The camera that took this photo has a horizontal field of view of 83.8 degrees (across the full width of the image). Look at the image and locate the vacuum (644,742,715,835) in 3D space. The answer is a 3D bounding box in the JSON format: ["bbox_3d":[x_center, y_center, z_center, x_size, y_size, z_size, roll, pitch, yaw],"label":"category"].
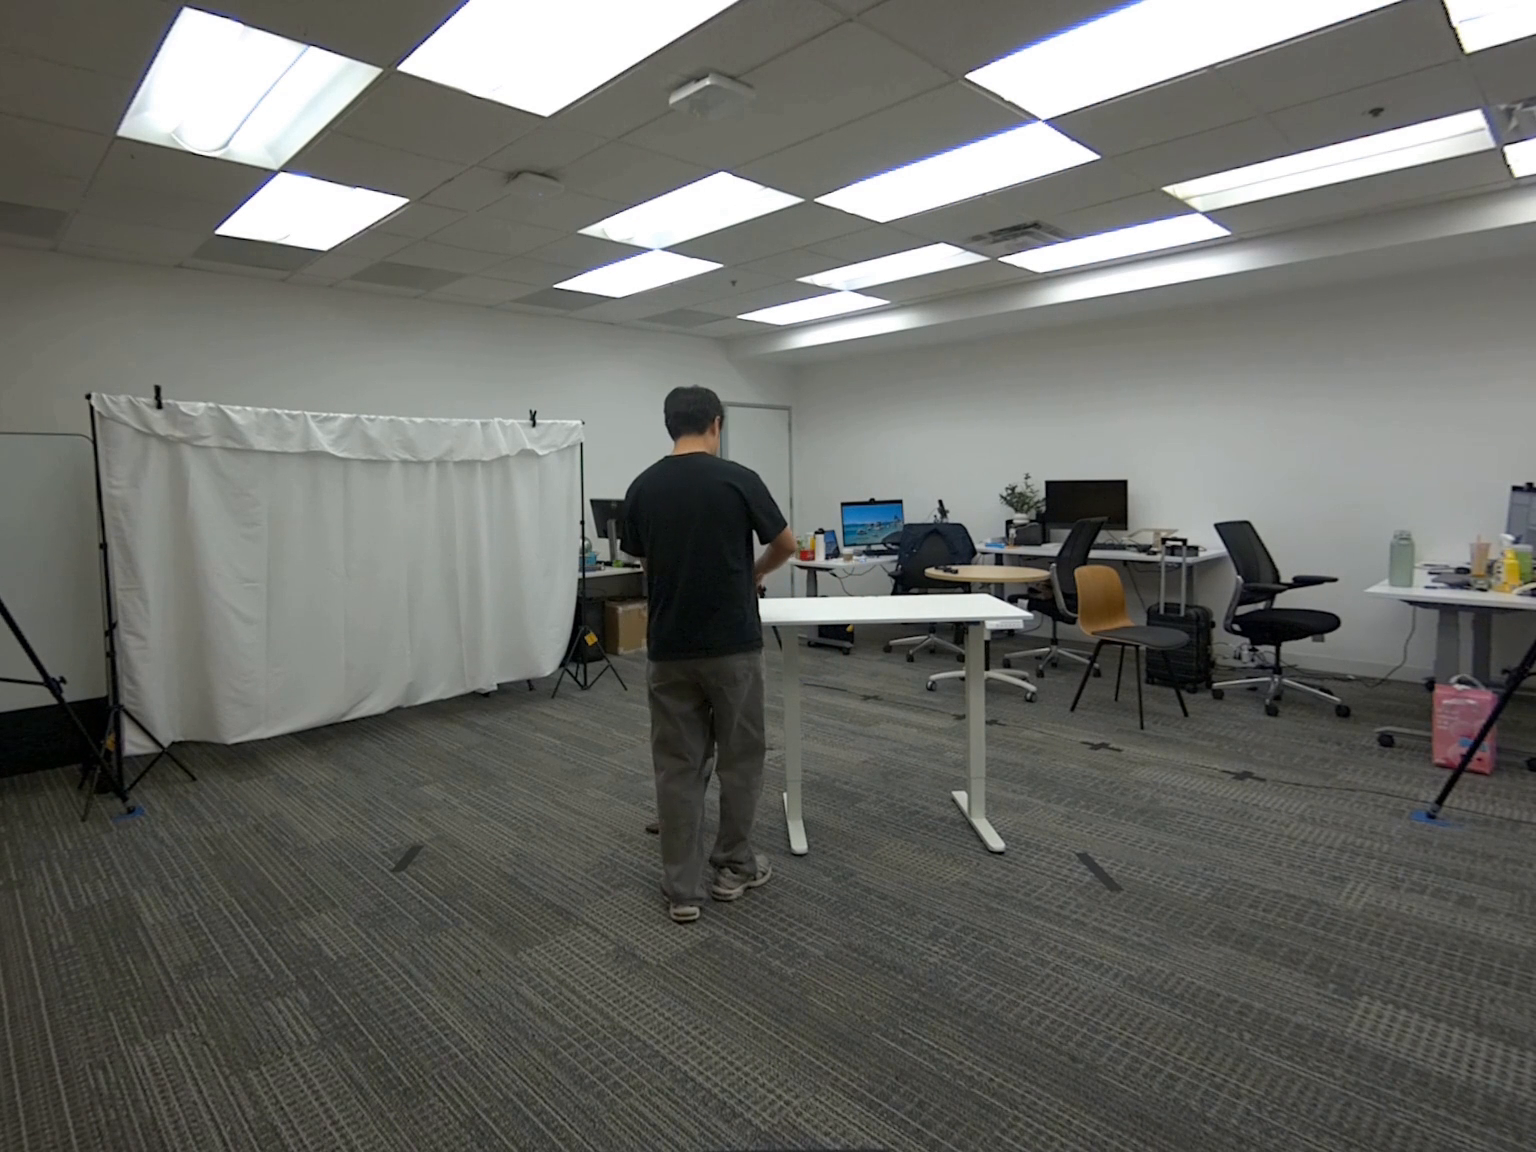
[{"bbox_3d":[-0.219,0.538,3.306,0.149,1.038,0.246,27,21,31],"label":"vacuum"}]
